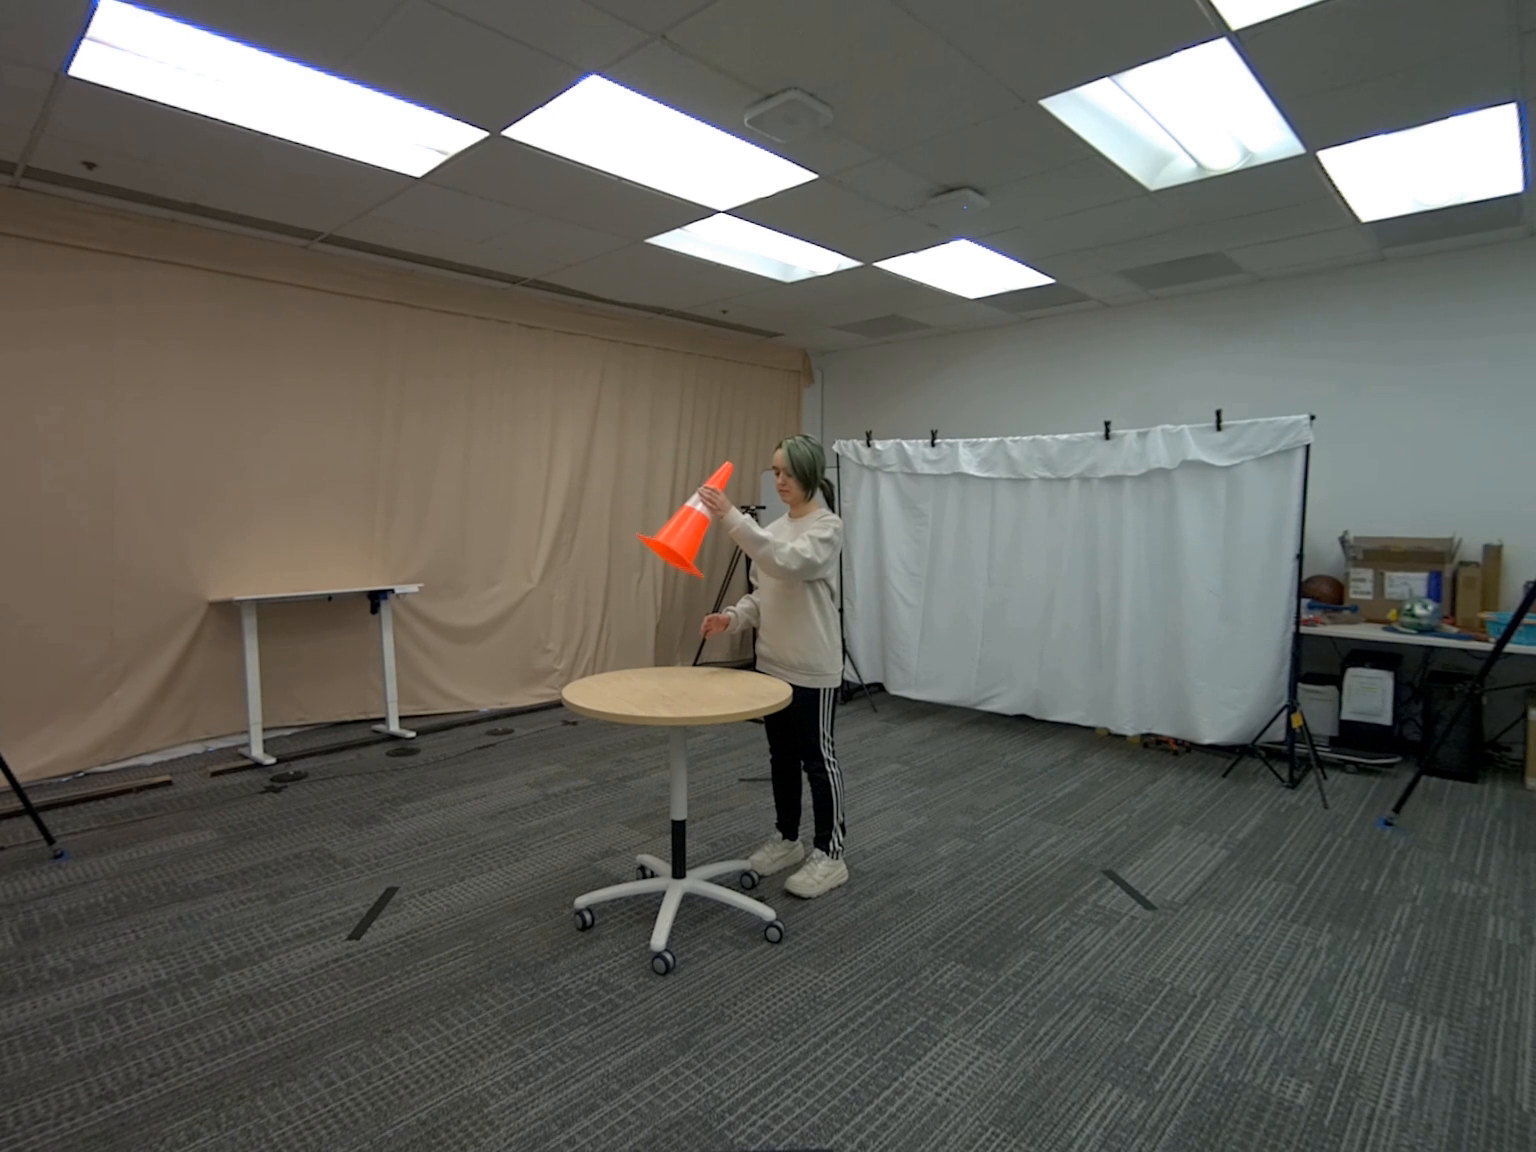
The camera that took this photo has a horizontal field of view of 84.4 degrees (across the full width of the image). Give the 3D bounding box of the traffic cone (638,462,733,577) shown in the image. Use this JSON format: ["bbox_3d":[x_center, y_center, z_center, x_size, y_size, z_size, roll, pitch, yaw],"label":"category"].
[{"bbox_3d":[-0.225,-0.211,2.818,0.212,0.383,0.196,17,-21,44],"label":"traffic cone"}]
